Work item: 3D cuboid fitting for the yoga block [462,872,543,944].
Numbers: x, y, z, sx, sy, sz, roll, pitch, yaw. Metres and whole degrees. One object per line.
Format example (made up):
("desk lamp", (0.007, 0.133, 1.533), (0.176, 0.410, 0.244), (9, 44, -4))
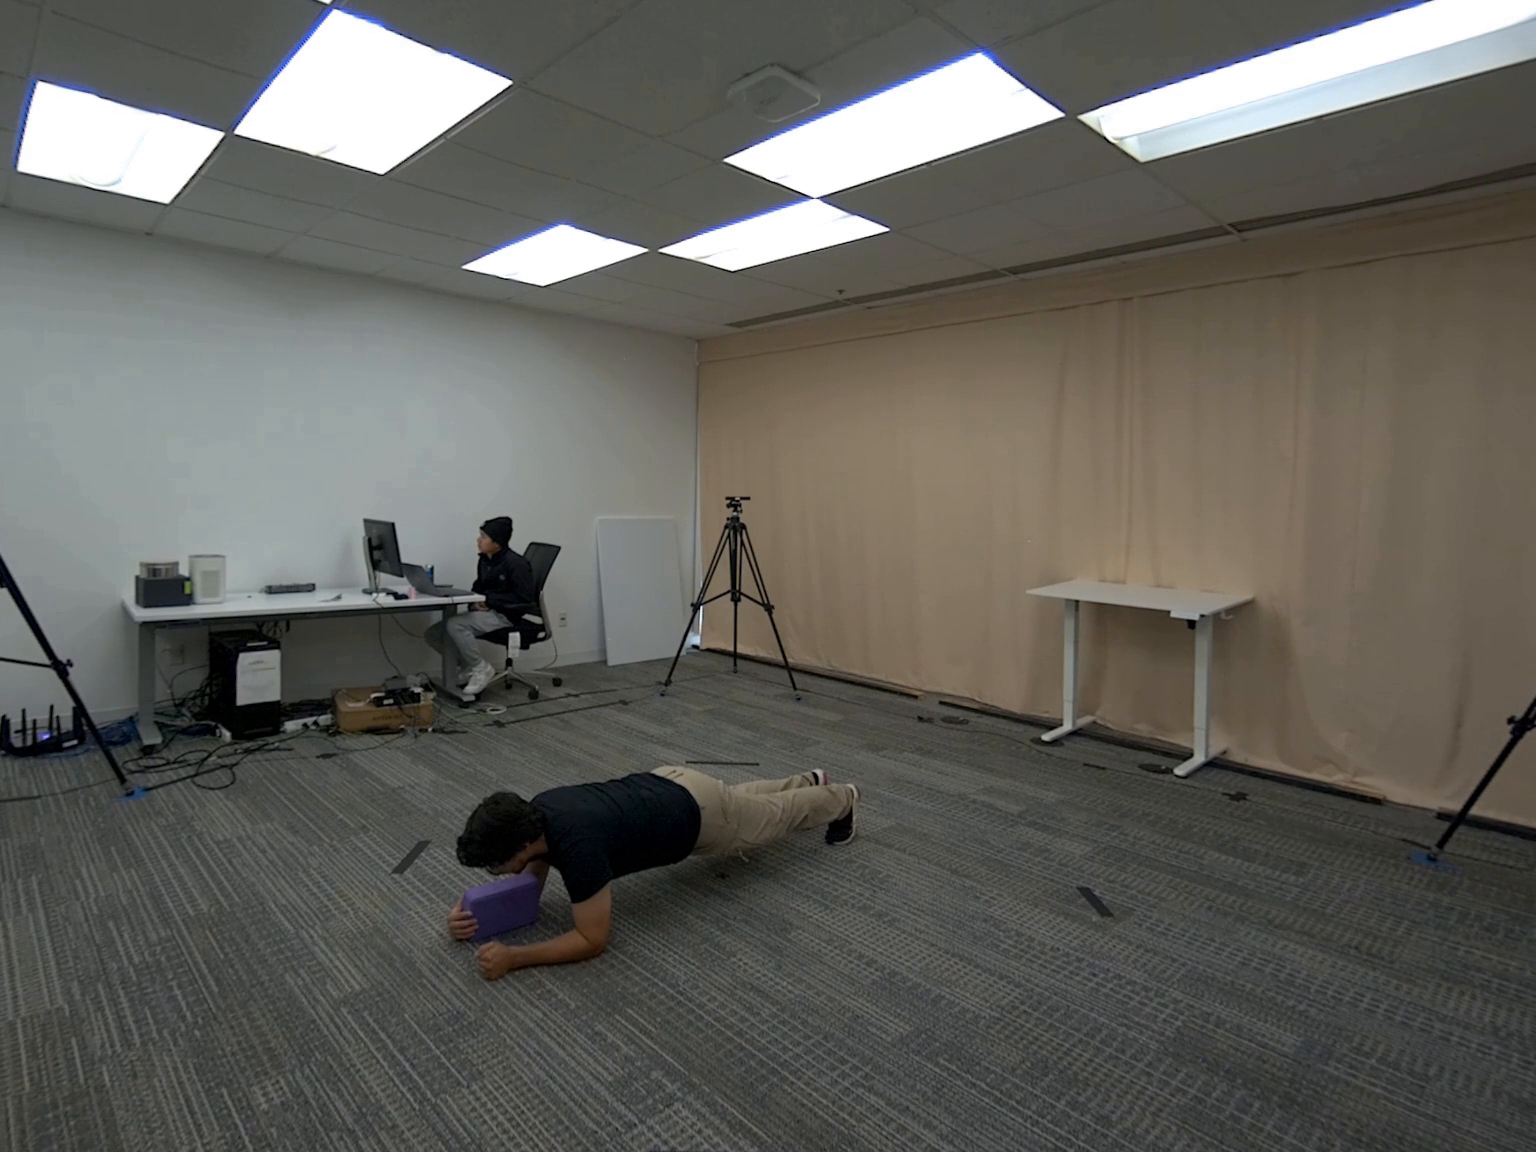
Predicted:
("yoga block", (-0.862, 1.053, 2.684), (0.224, 0.148, 0.078), (-5, 14, -38))
